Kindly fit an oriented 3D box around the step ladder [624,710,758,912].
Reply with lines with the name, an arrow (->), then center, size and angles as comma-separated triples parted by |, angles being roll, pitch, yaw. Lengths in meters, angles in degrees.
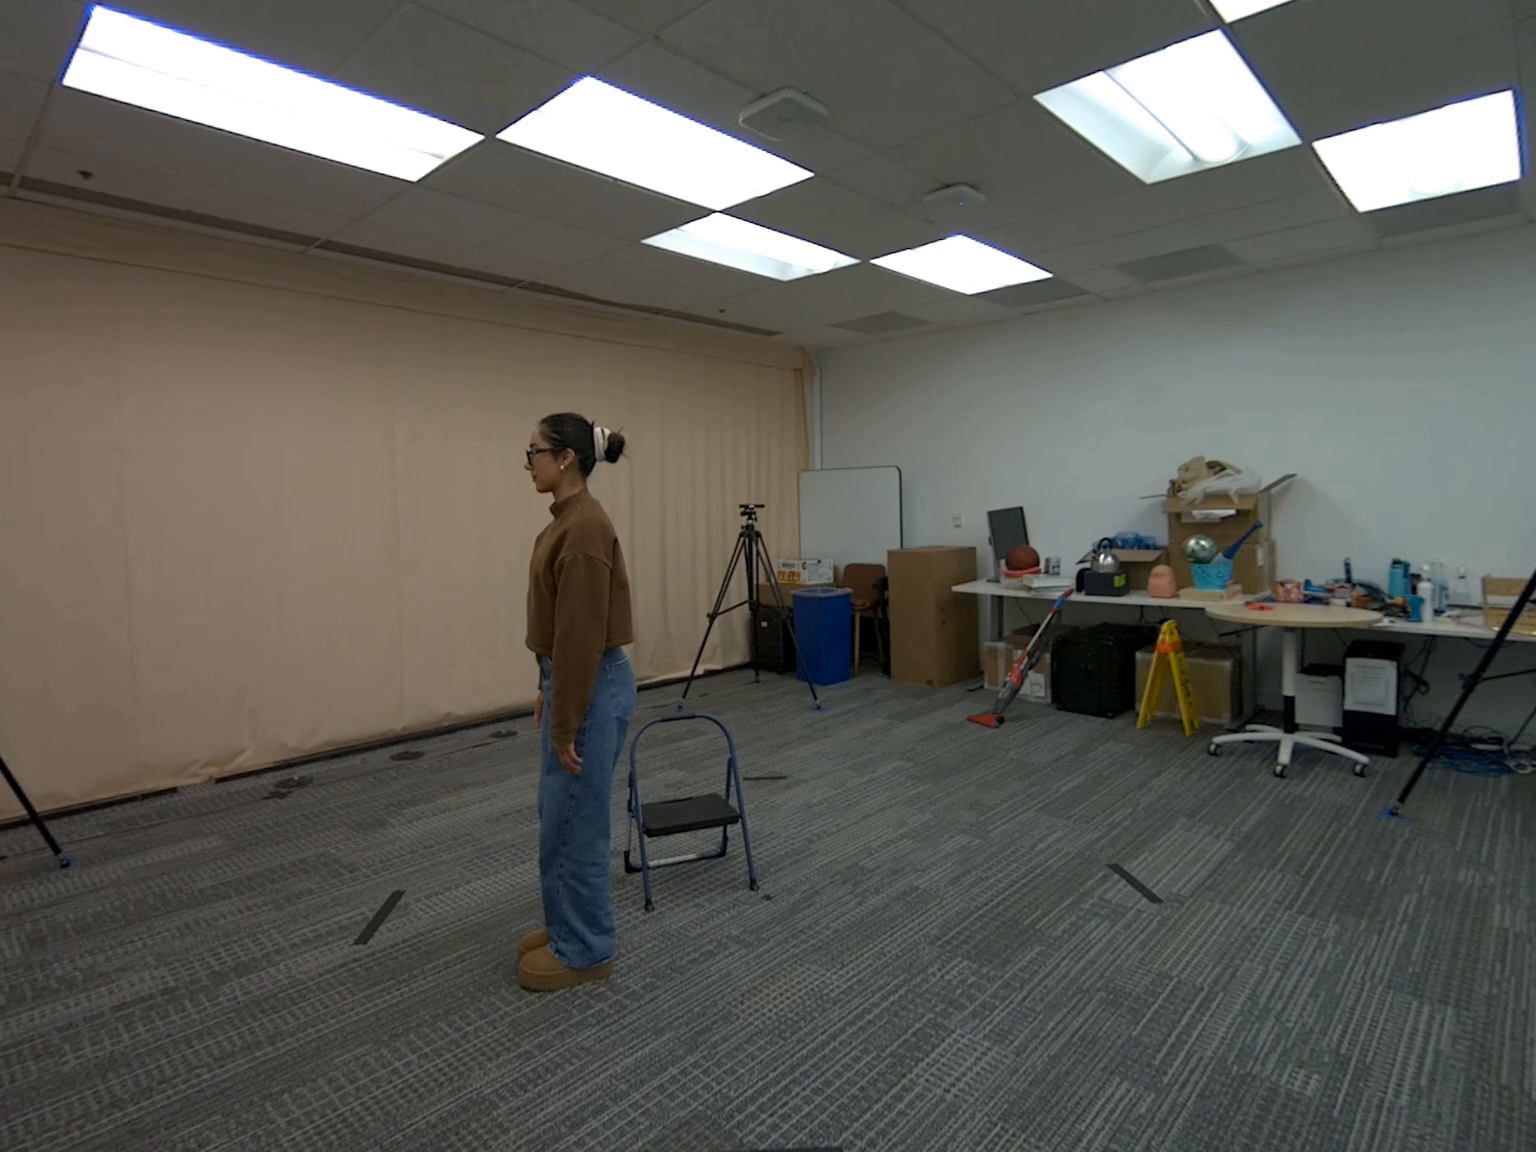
step ladder -> -0.297, 0.833, 3.117 | 0.421, 0.605, 0.357 | -3, 4, -22
